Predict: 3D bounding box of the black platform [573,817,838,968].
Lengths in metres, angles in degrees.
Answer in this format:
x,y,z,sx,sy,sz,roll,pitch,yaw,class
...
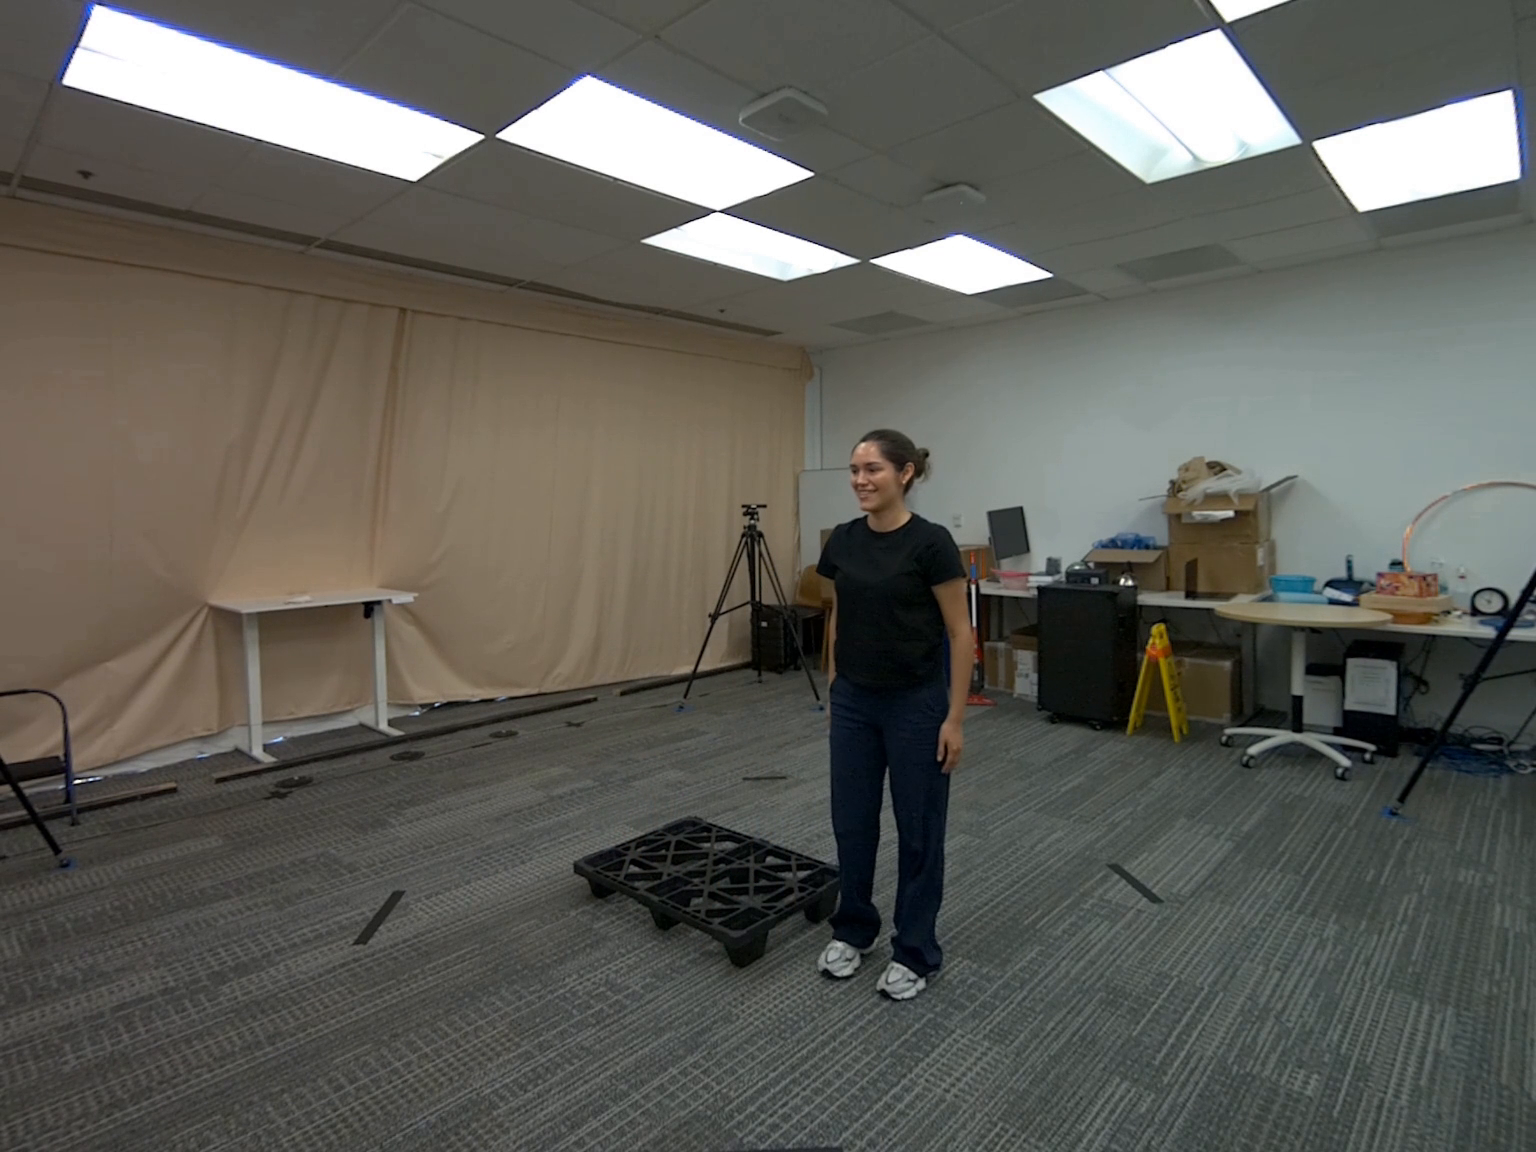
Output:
x,y,z,sx,sy,sz,roll,pitch,yaw,class
-0.192,1.085,2.940,0.832,0.143,0.587,3,7,42,black platform
